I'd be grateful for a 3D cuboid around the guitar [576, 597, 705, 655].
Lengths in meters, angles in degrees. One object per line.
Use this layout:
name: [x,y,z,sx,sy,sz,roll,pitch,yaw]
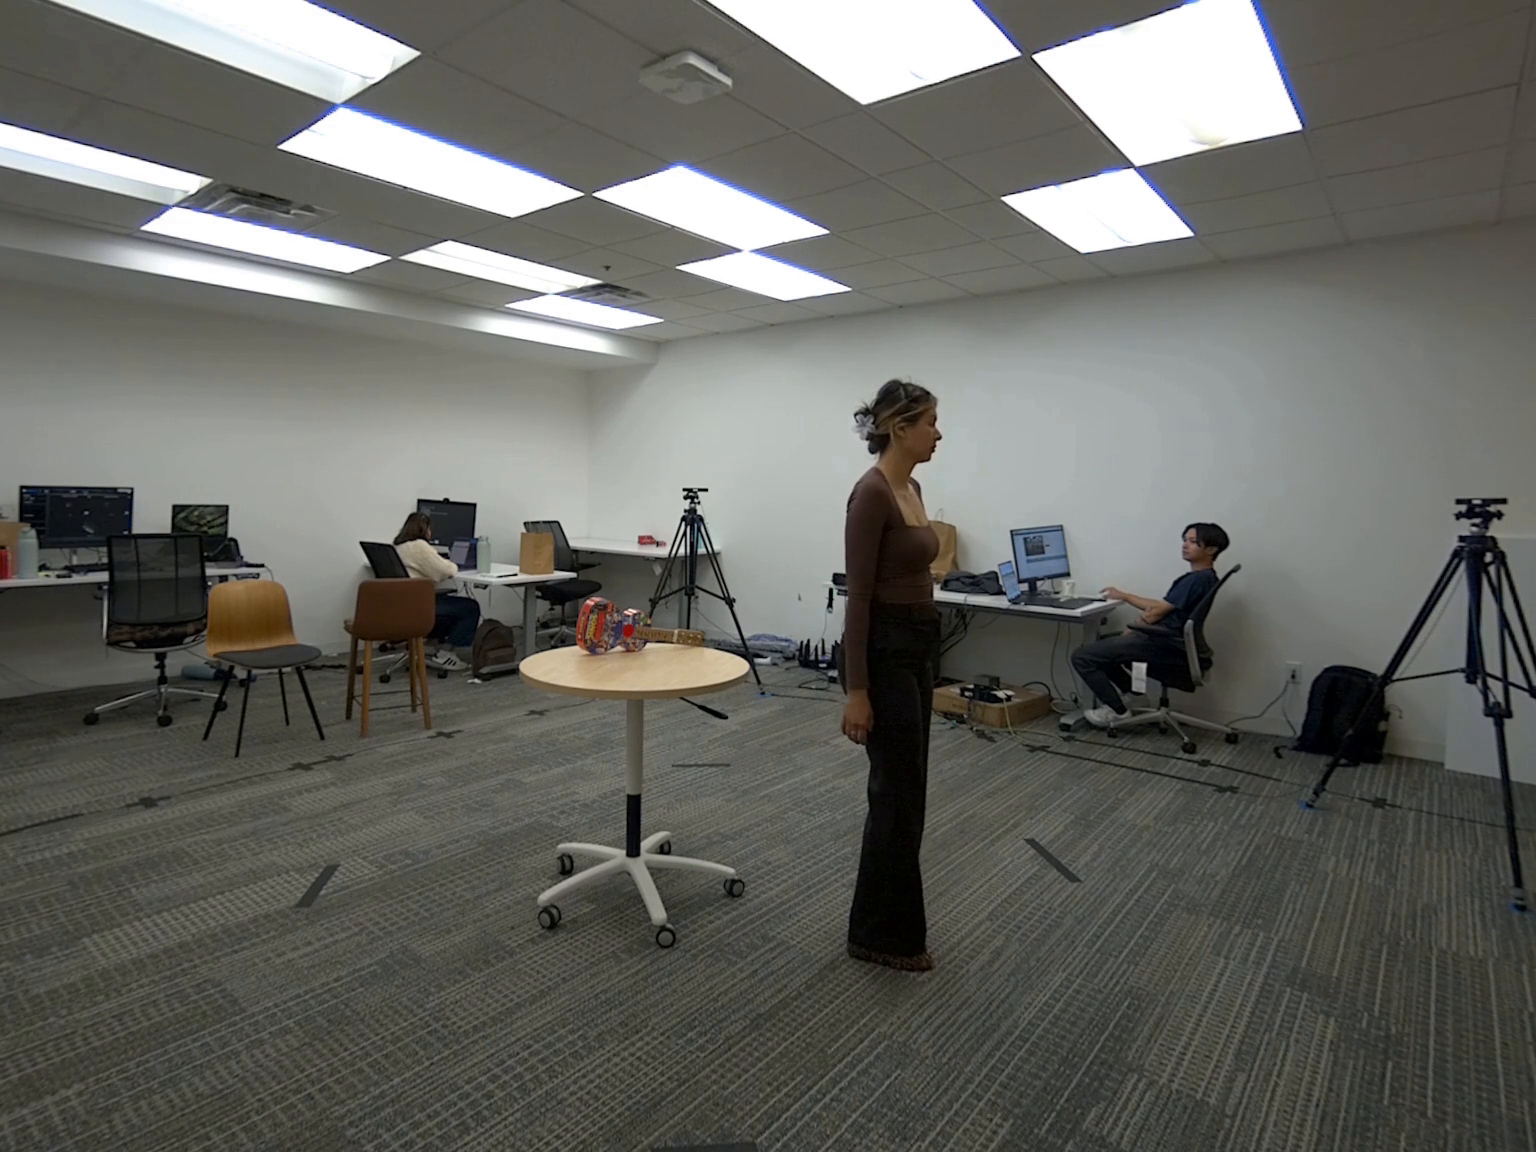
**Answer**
guitar: [-0.475,0.230,3.093,0.480,0.193,0.073,21,-6,-33]
